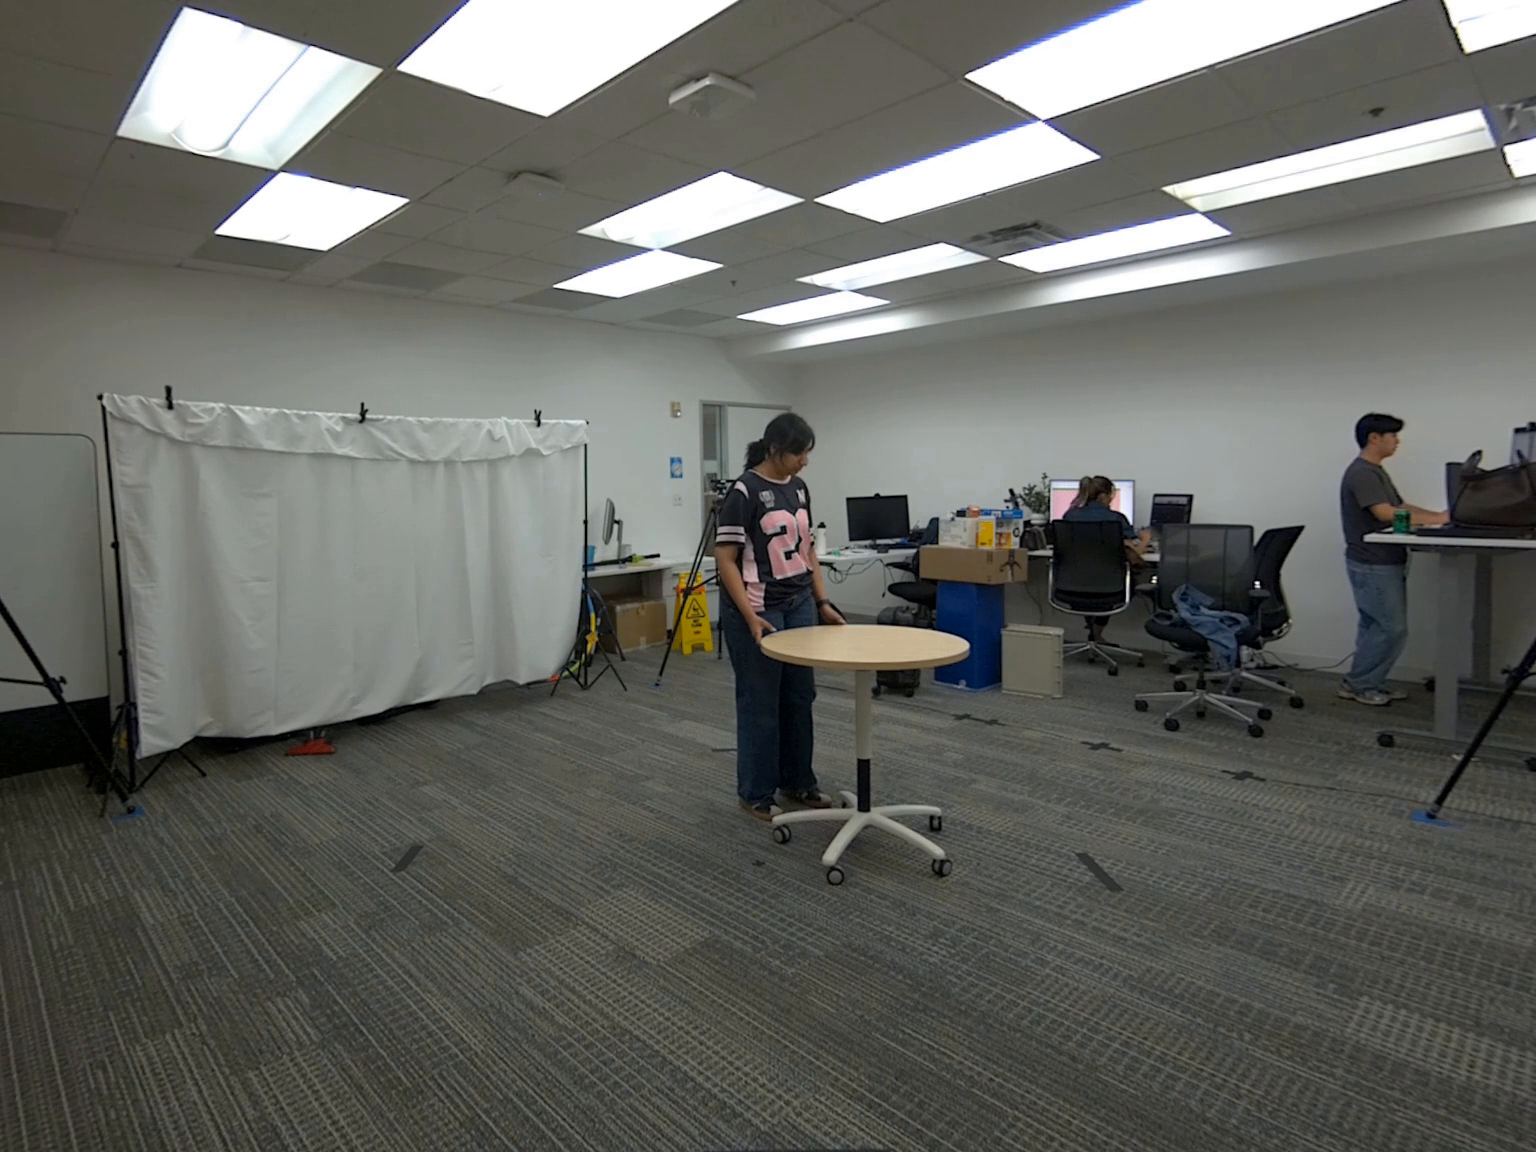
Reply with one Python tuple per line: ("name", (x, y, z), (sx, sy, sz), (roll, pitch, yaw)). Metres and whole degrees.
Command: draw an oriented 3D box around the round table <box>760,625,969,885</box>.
("round table", (0.367, 0.639, 3.207), (0.763, 0.791, 0.768), (-1, 5, -2))
